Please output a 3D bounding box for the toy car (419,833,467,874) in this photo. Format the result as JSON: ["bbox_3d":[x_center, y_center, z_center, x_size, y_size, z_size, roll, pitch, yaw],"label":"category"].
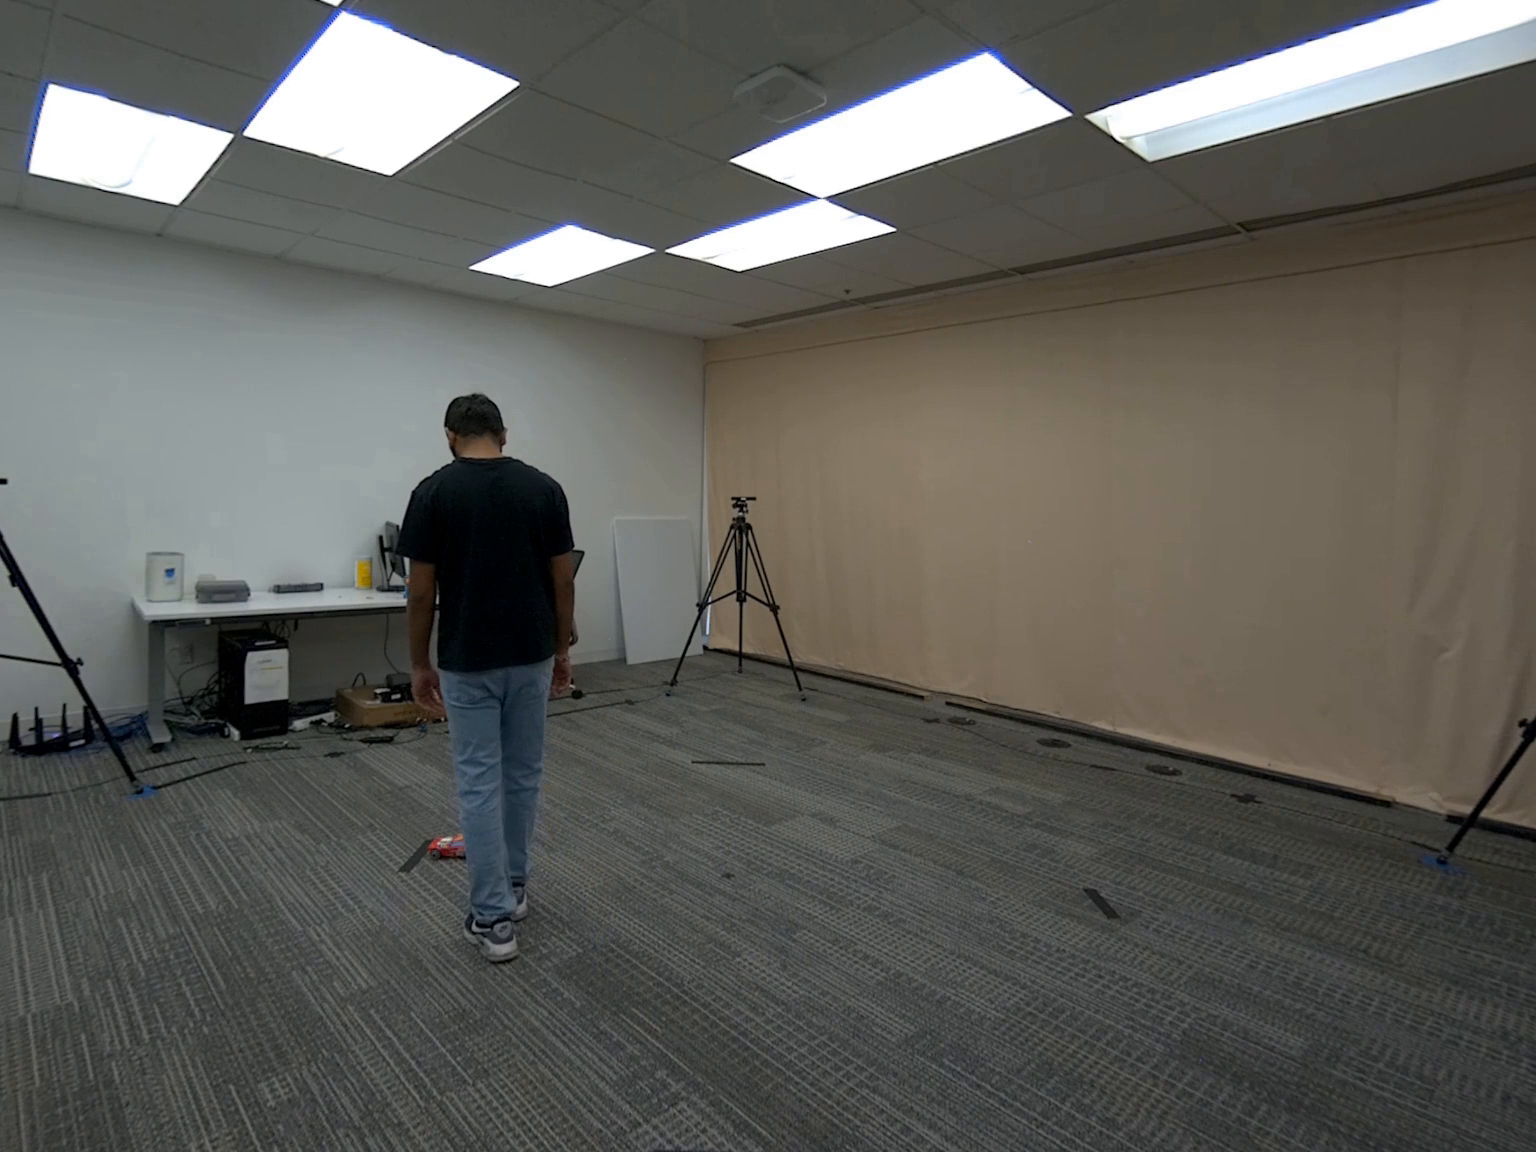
[{"bbox_3d":[-1.177,1.047,3.230,0.255,0.083,0.130,-9,4,2],"label":"toy car"}]
